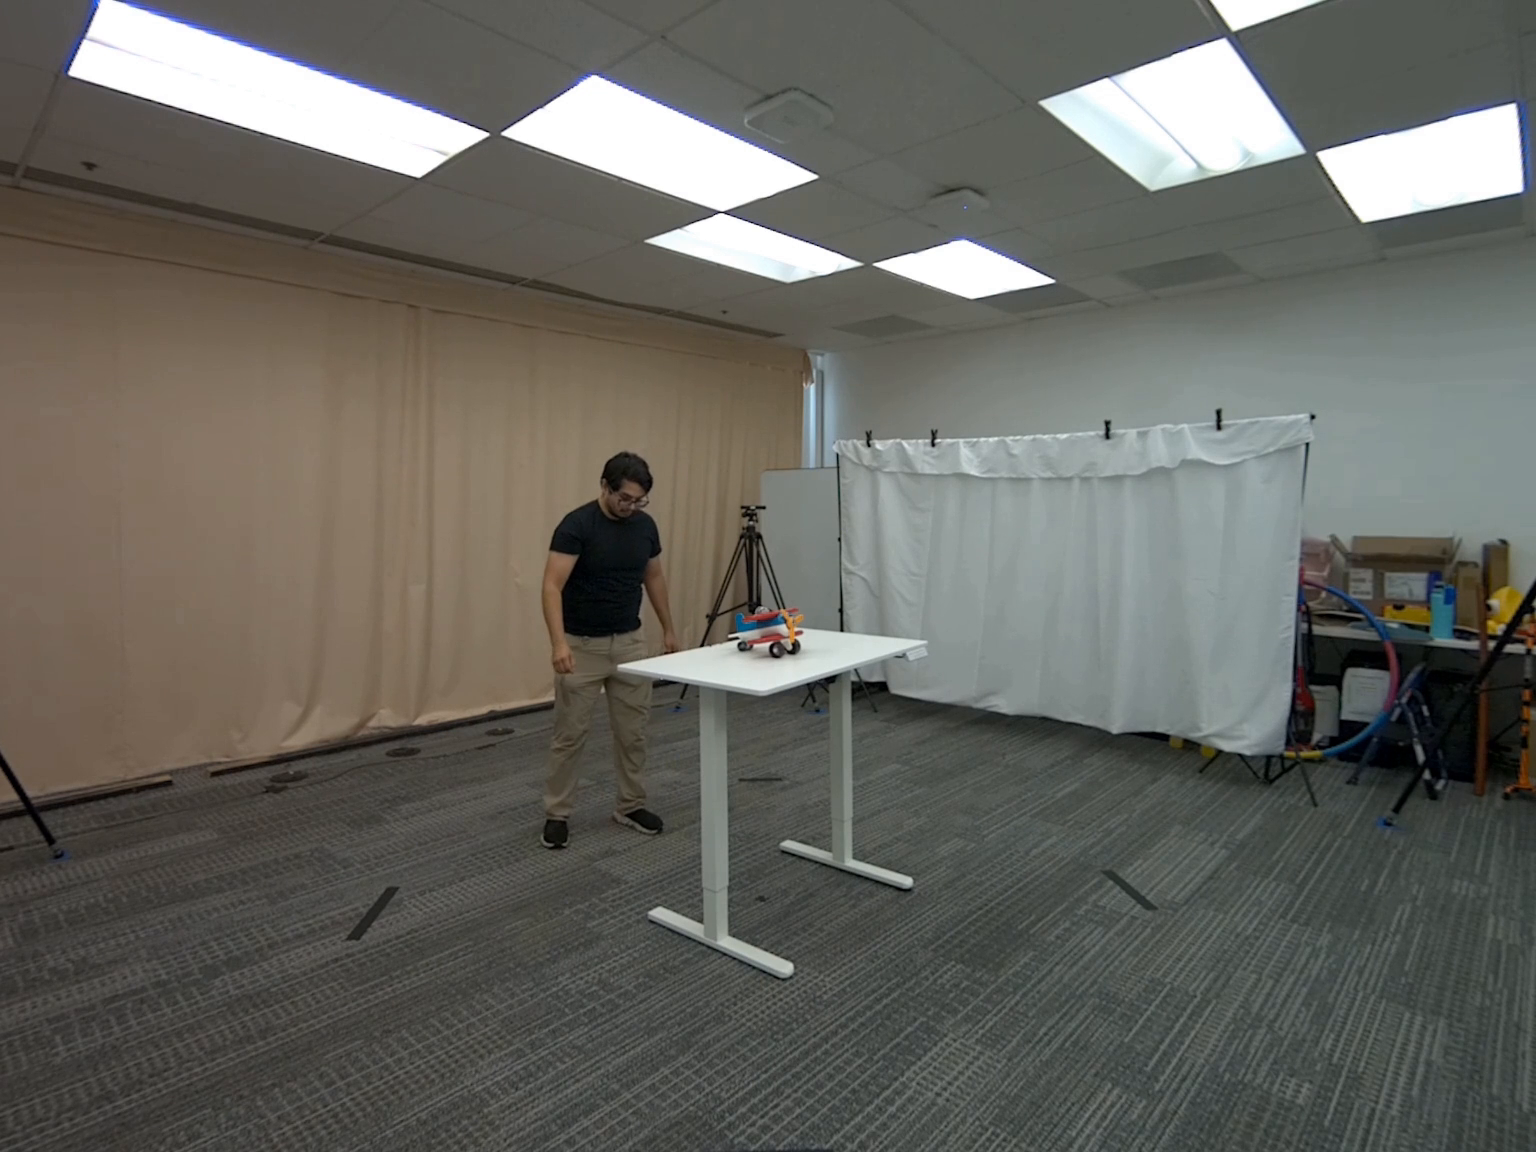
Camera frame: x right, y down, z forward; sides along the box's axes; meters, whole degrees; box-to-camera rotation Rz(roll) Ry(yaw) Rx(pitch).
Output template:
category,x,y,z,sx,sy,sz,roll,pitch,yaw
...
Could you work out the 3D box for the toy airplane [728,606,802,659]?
category,x,y,z,sx,sy,sz,roll,pitch,yaw
toy airplane,-0.012,0.192,2.888,0.263,0.156,0.248,1,5,13
